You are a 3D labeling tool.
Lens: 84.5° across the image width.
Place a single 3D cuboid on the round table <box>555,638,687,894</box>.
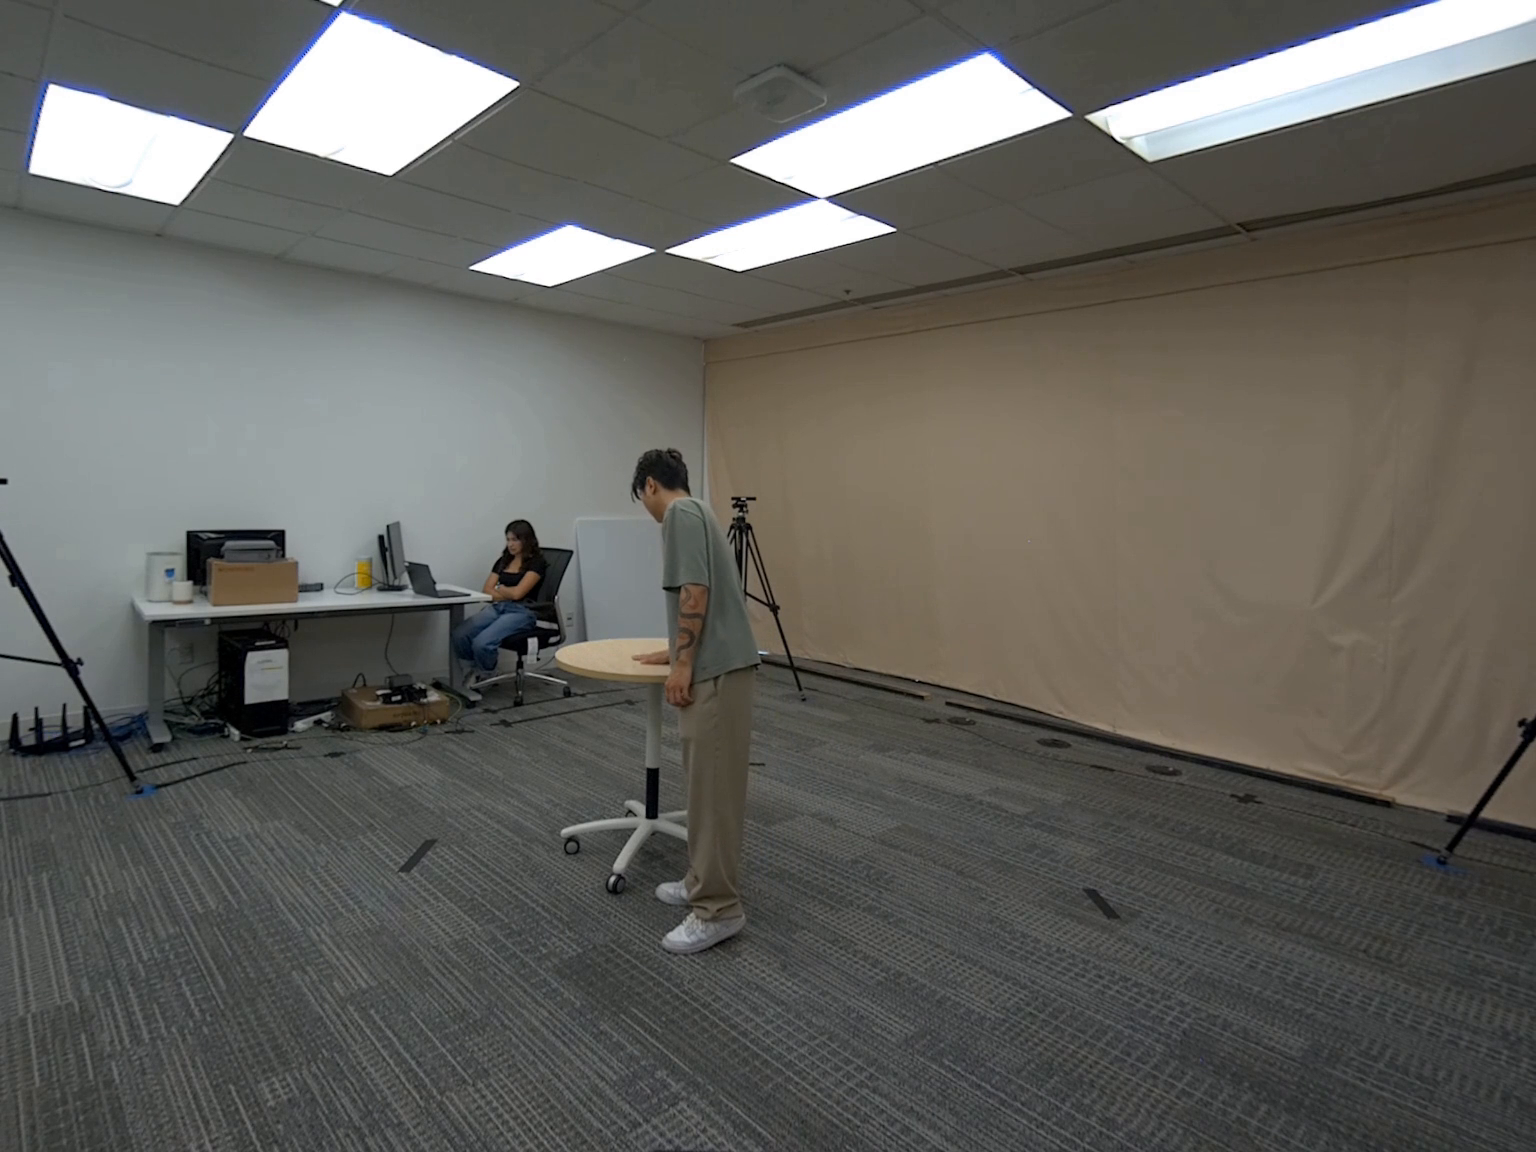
[{"bbox_3d":[-0.460,0.698,3.275,0.763,0.792,0.766,1,4,-1],"label":"round table"}]
